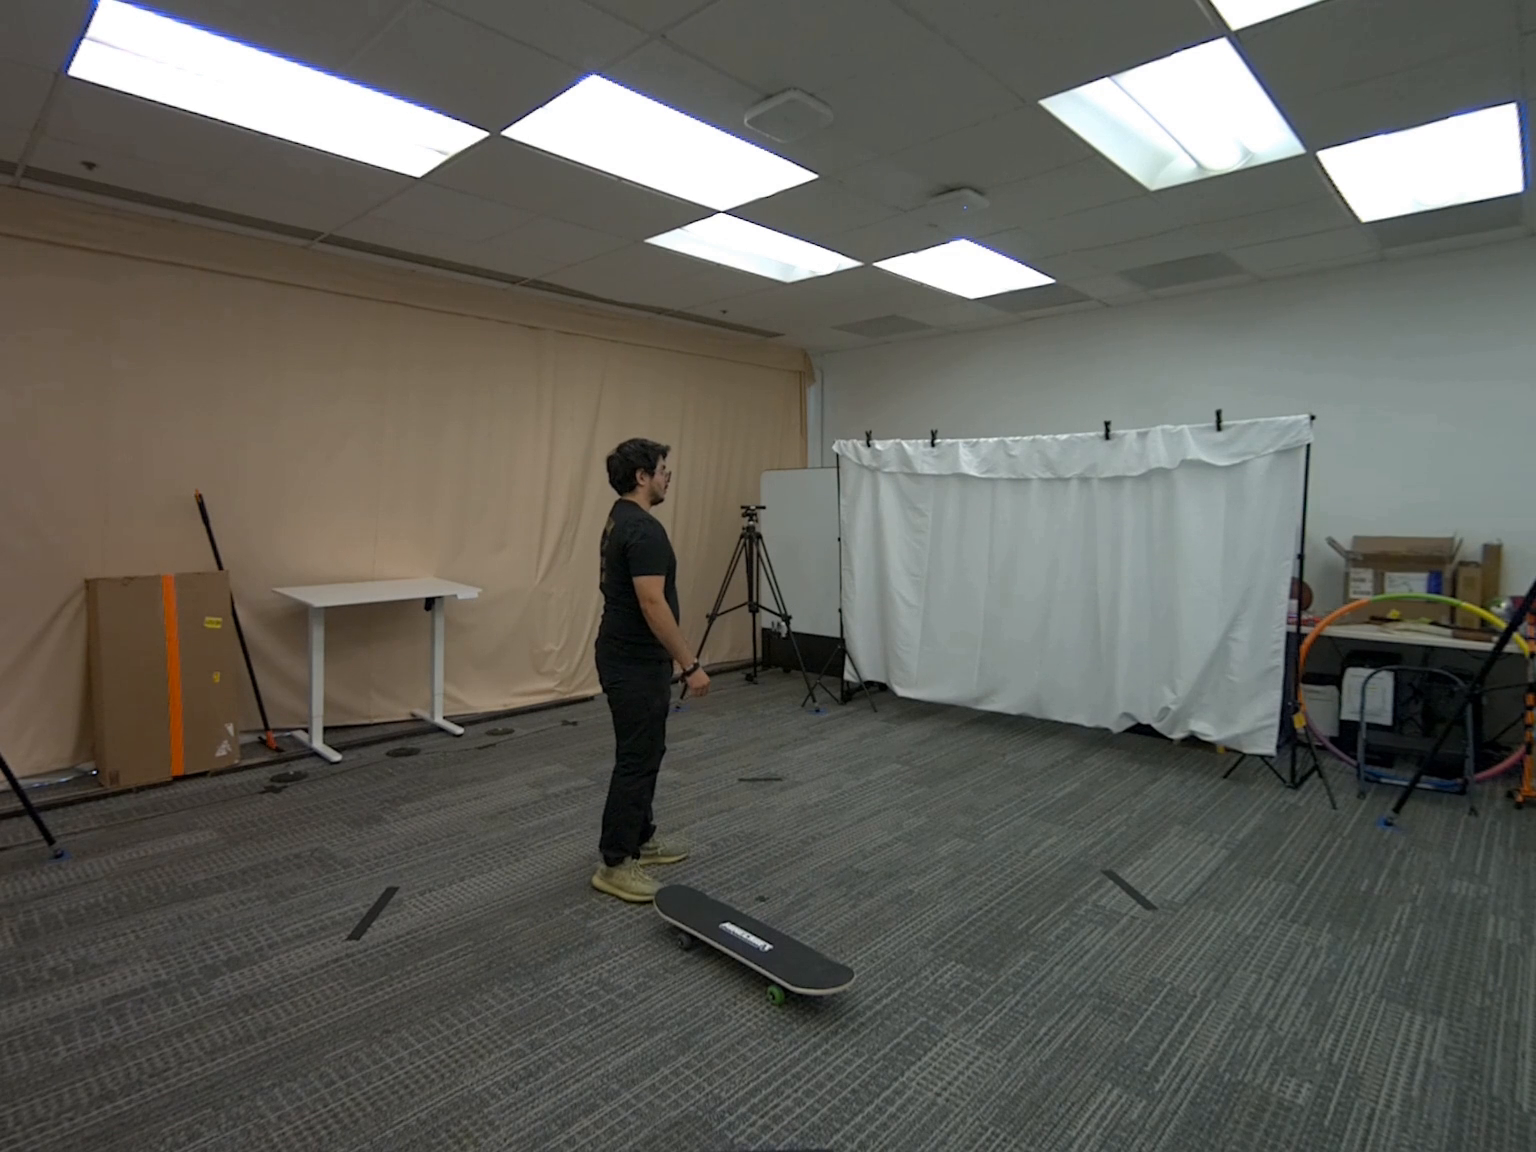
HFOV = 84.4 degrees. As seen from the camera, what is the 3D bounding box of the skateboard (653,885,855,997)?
[{"bbox_3d":[-0.065,1.125,2.549,0.187,0.110,0.812,-4,6,-45],"label":"skateboard"}]
